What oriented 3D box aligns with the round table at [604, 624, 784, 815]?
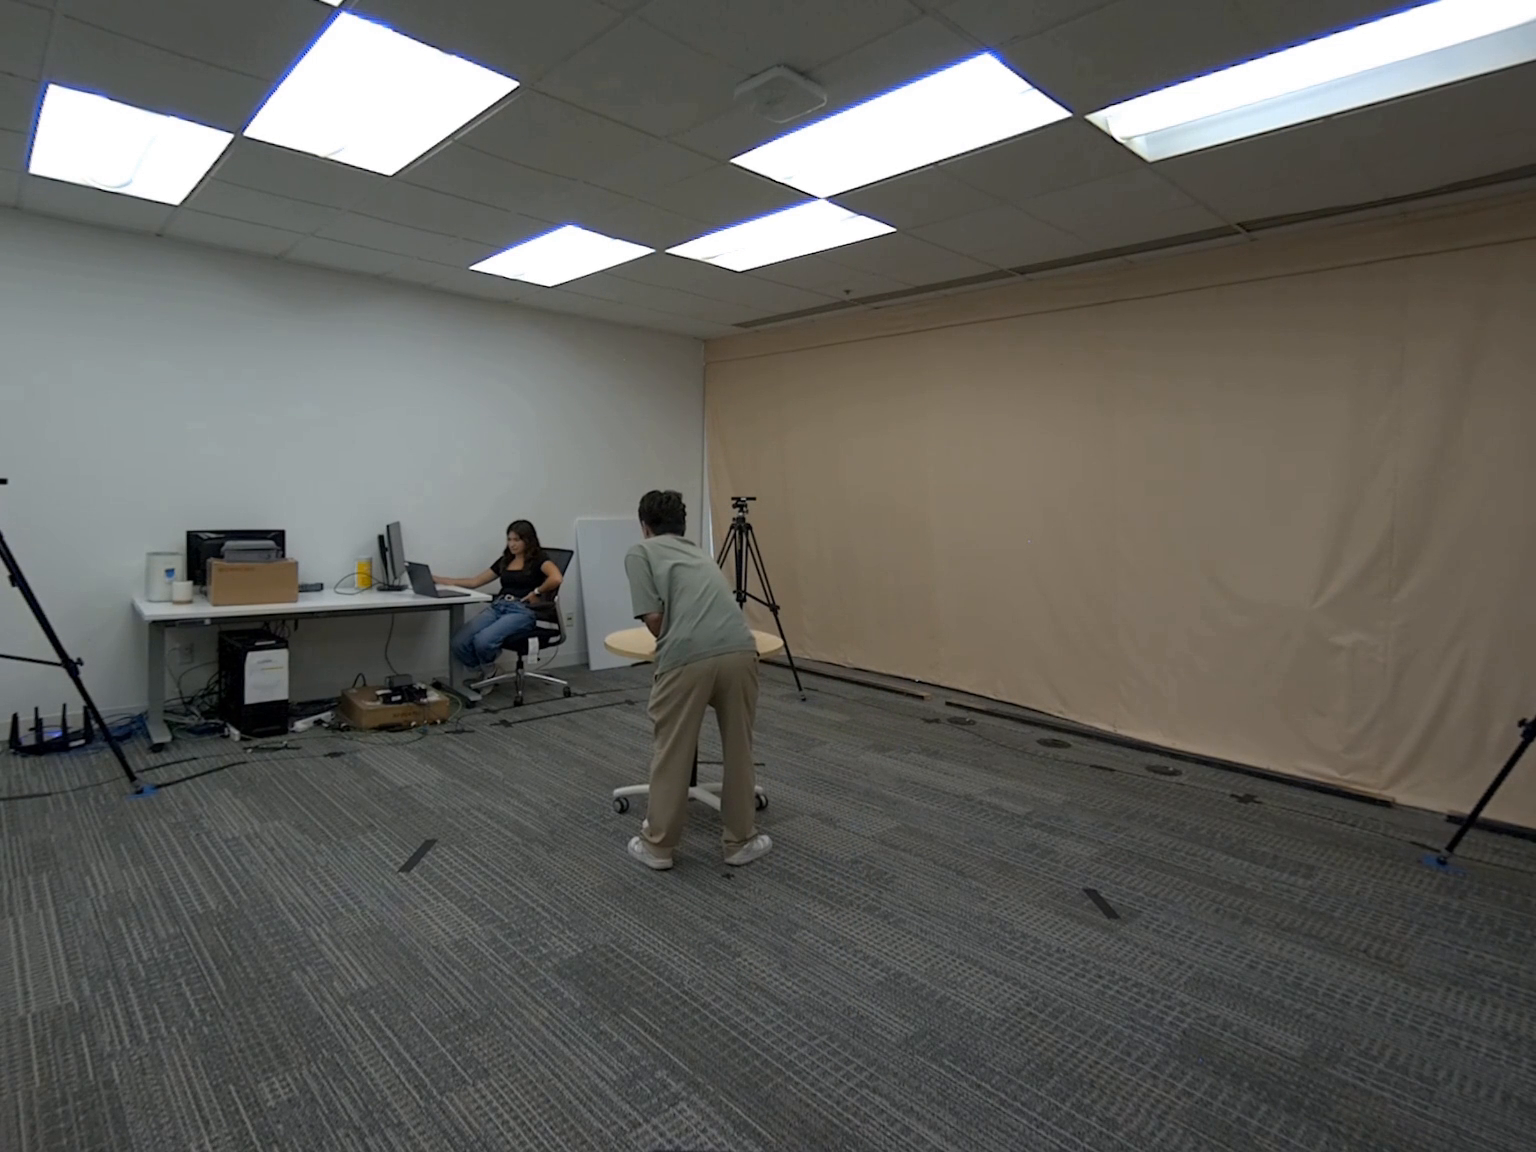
[{"bbox_3d":[-0.340,0.663,3.649,0.784,0.784,0.788,1,4,-1],"label":"round table"}]
